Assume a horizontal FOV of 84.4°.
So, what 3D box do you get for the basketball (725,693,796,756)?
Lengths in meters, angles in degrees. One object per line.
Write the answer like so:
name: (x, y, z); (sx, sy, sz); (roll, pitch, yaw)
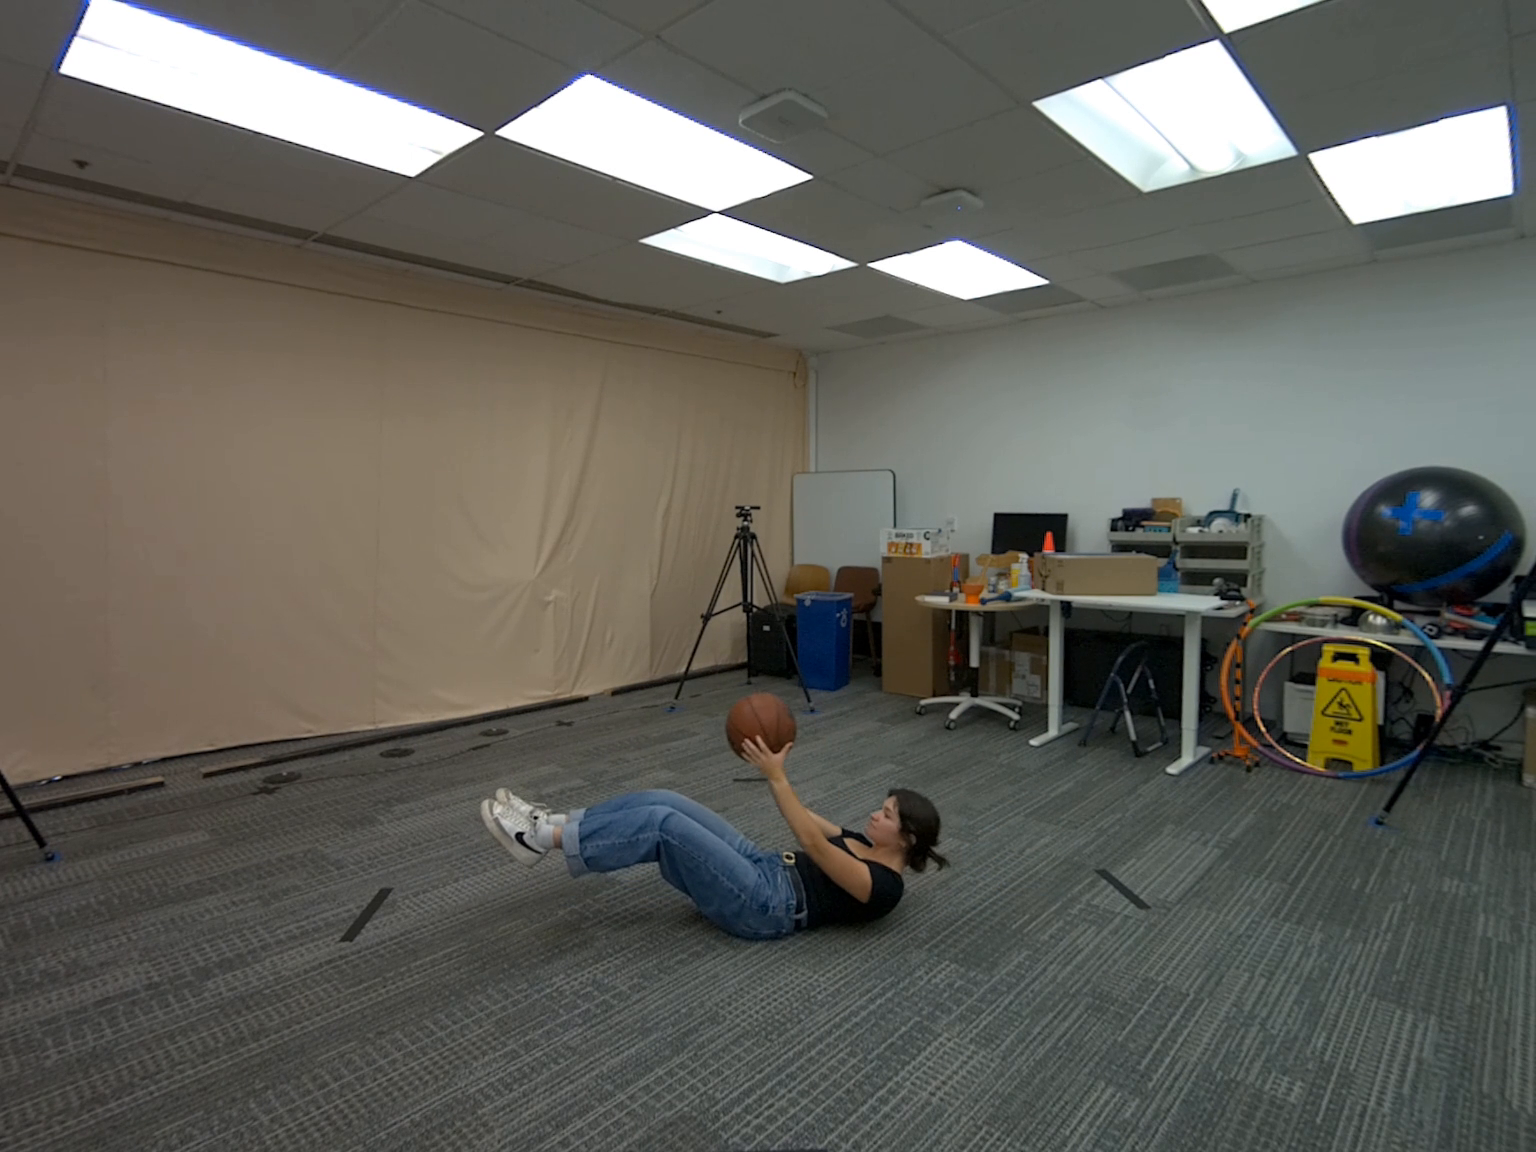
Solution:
basketball: (0.003, 0.514, 2.831); (0.236, 0.235, 0.237); (0, 4, -2)
